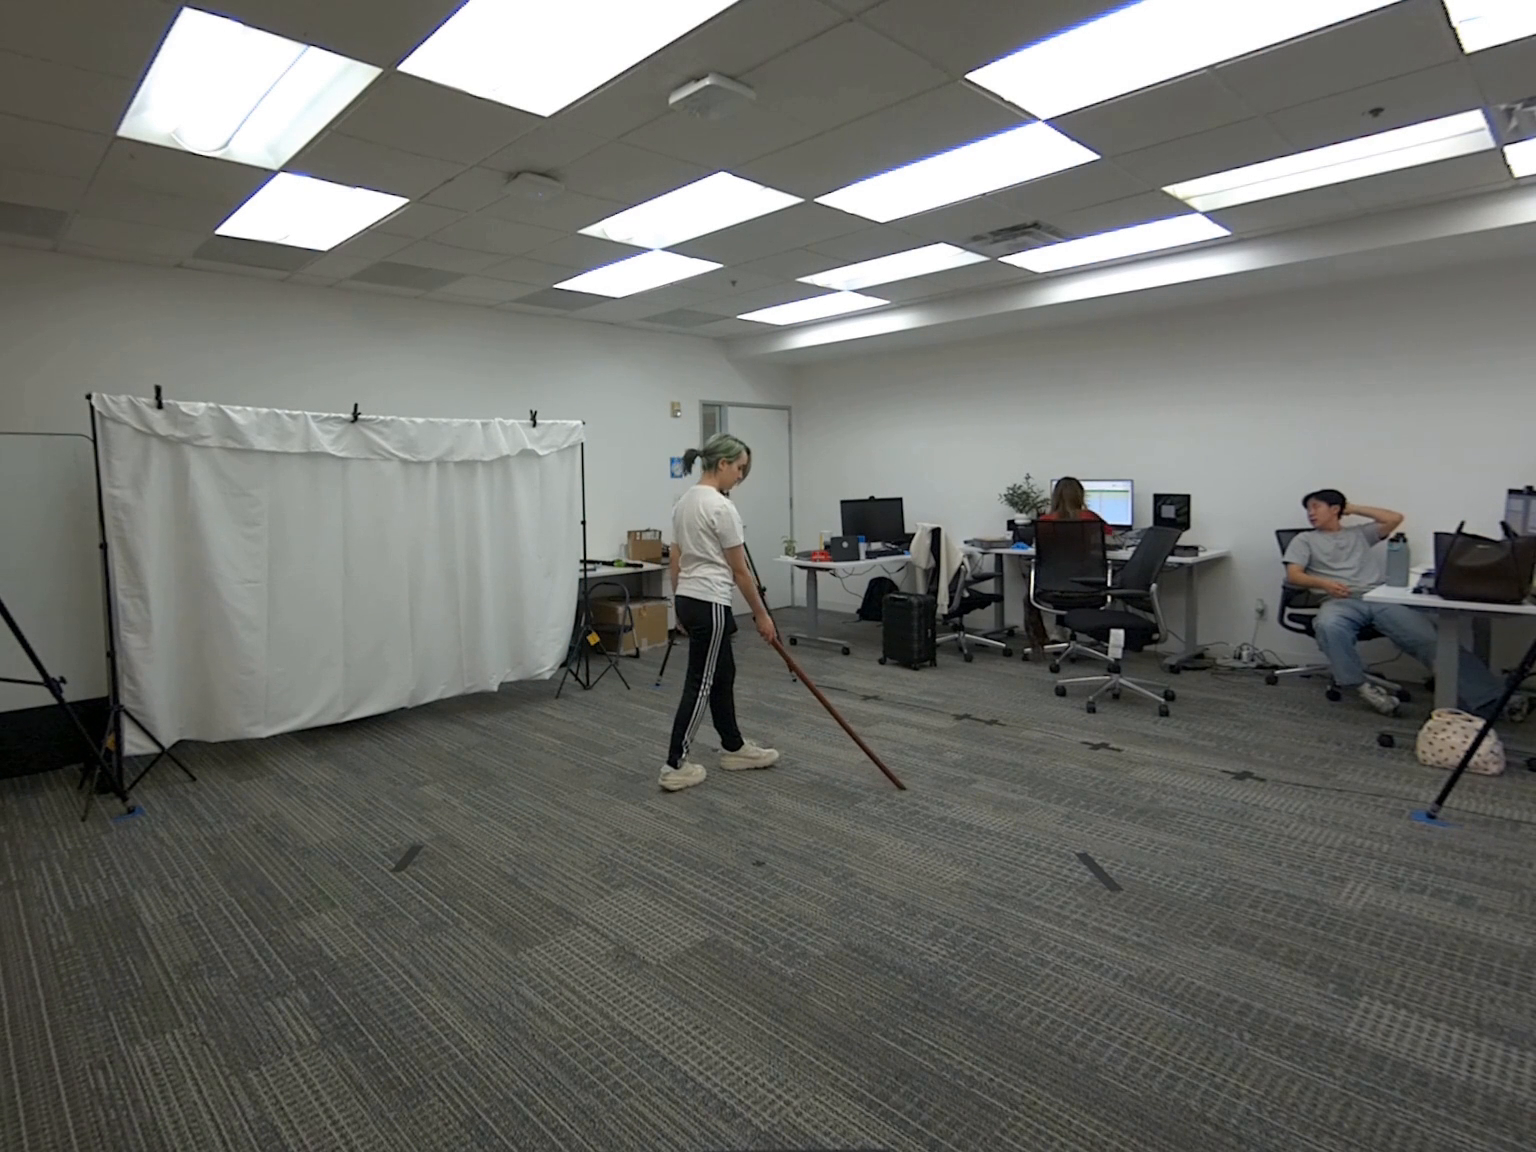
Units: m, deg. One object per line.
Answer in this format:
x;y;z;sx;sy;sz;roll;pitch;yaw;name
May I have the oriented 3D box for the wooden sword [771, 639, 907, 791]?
0.277;0.580;3.942;0.024;1.043;0.050;-47;-15;24;wooden sword
